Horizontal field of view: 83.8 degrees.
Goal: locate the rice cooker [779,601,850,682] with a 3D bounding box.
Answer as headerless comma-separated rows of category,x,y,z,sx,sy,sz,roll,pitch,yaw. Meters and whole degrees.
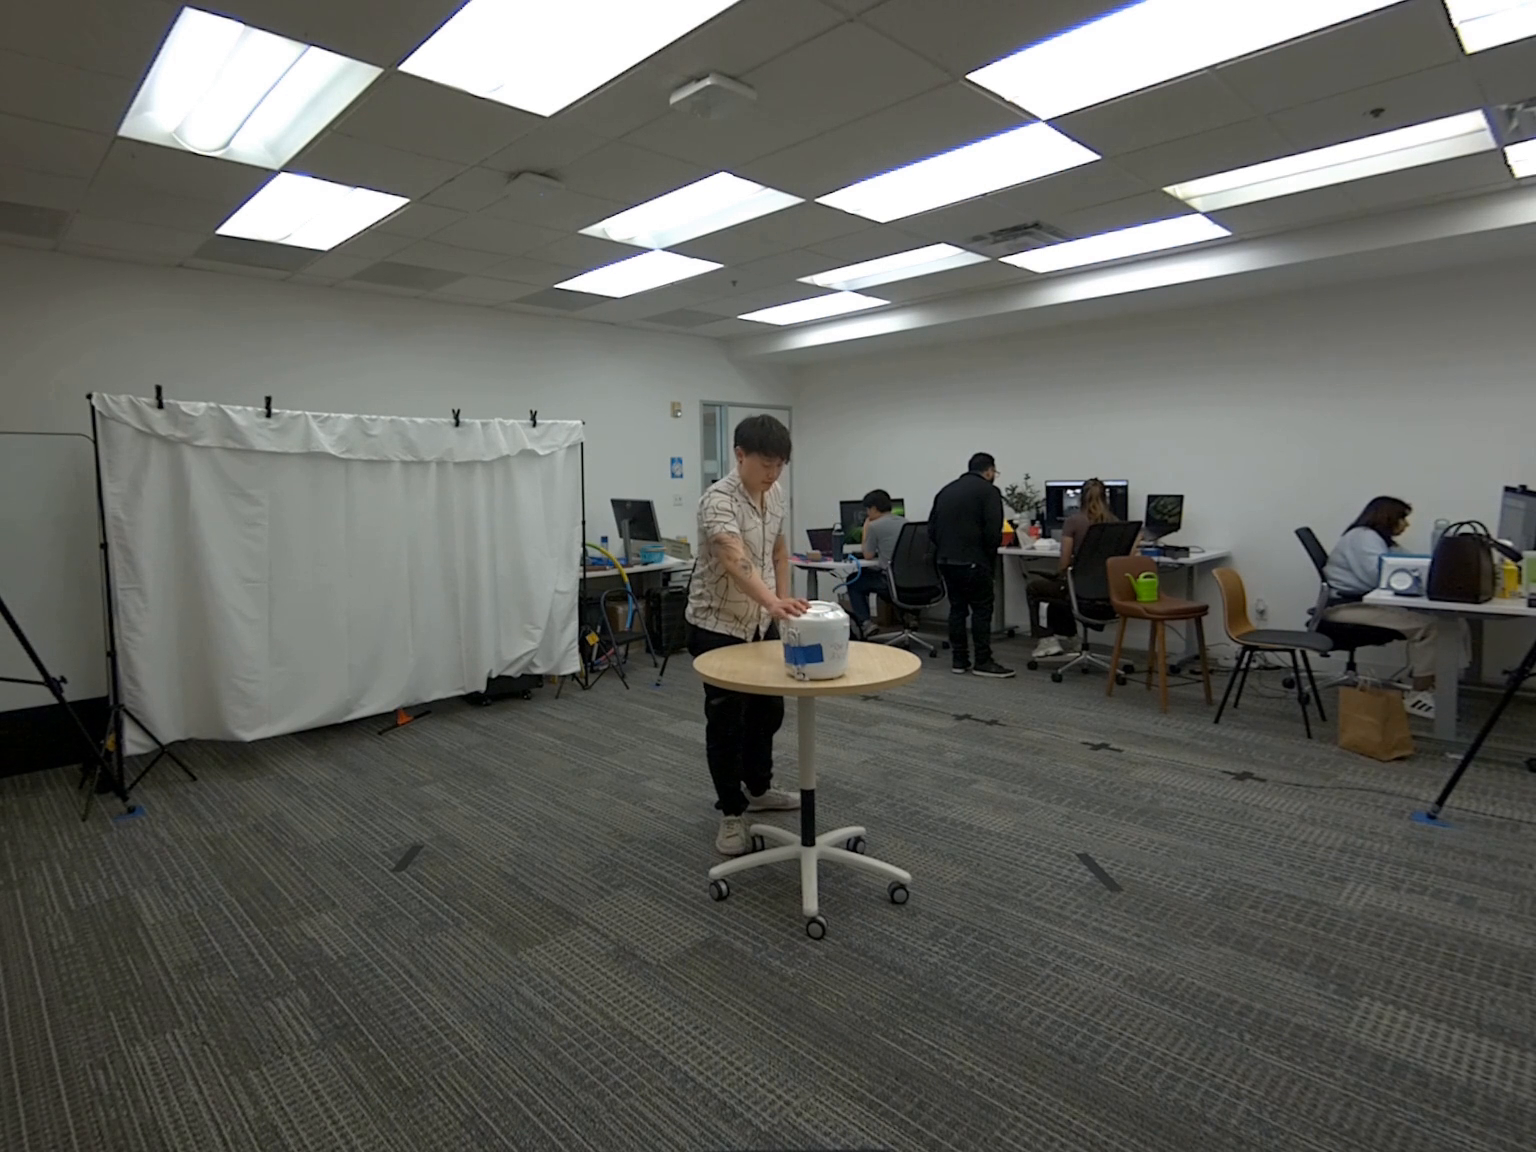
rice cooker,0.148,0.196,2.679,0.219,0.232,0.220,-1,6,-8
